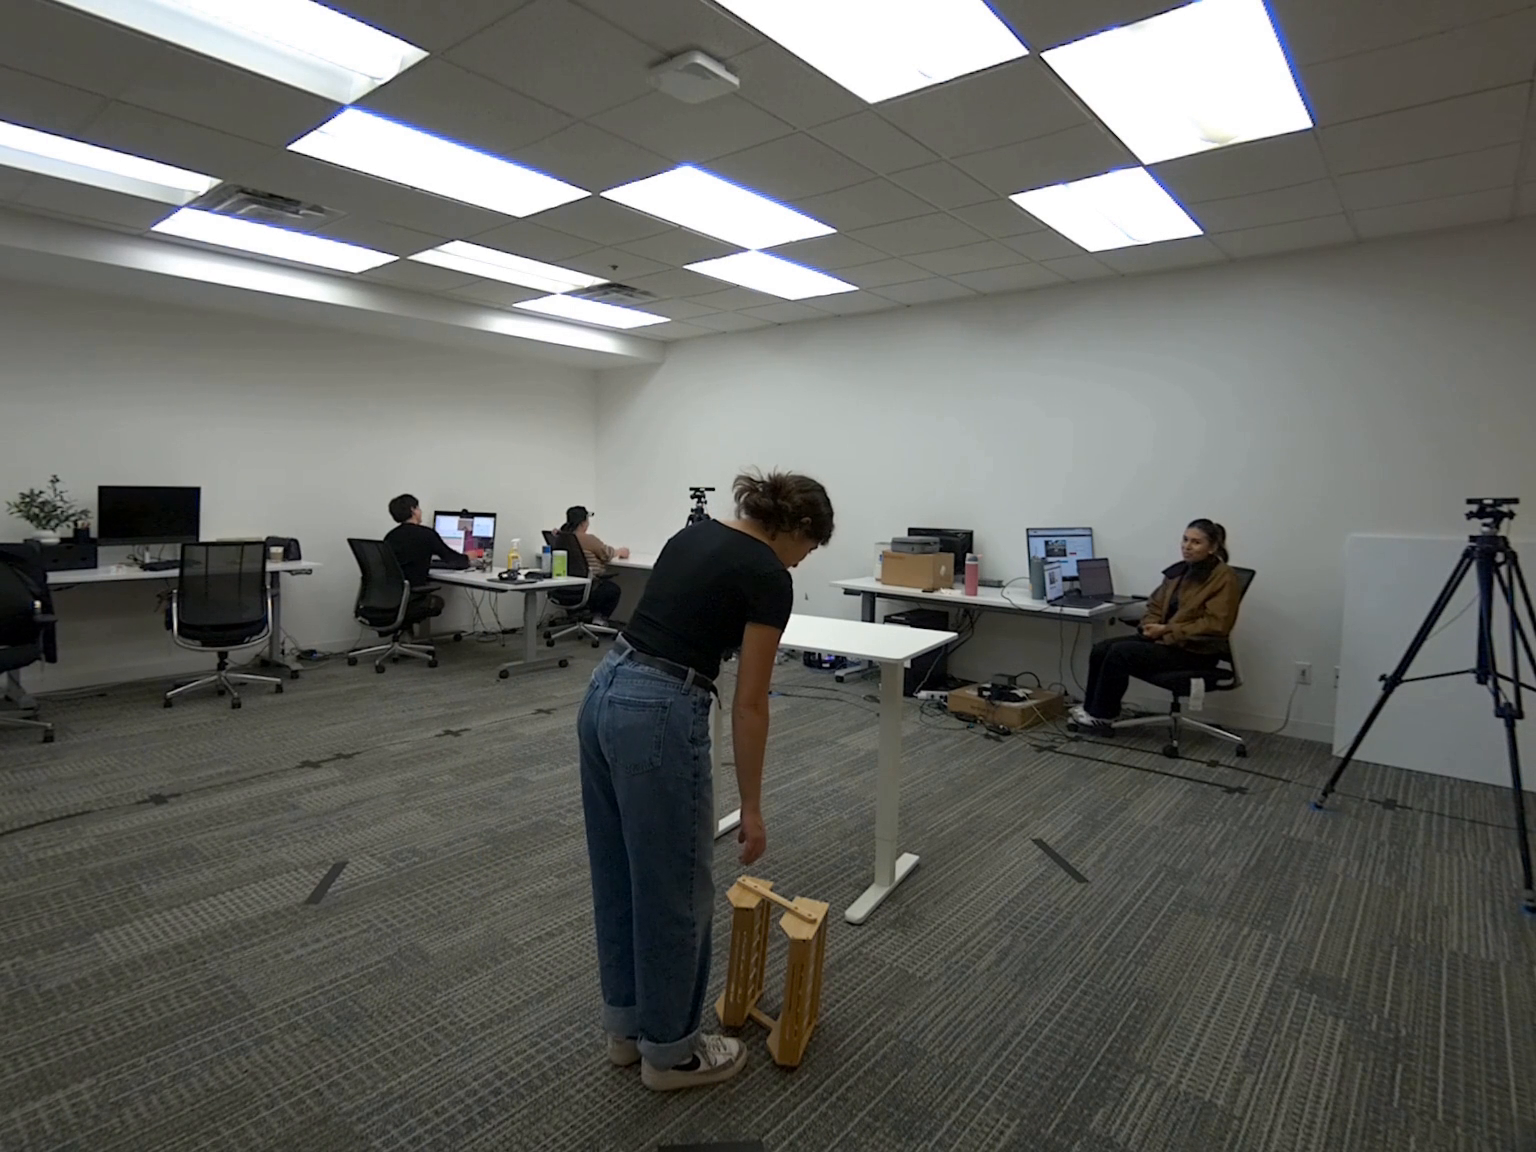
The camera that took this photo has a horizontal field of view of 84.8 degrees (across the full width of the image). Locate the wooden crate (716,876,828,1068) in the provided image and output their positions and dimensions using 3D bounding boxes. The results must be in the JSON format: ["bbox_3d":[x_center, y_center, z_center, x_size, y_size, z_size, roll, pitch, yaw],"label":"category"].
[{"bbox_3d":[-0.011,0.999,2.188,0.279,0.325,0.296,6,0,18],"label":"wooden crate"}]
